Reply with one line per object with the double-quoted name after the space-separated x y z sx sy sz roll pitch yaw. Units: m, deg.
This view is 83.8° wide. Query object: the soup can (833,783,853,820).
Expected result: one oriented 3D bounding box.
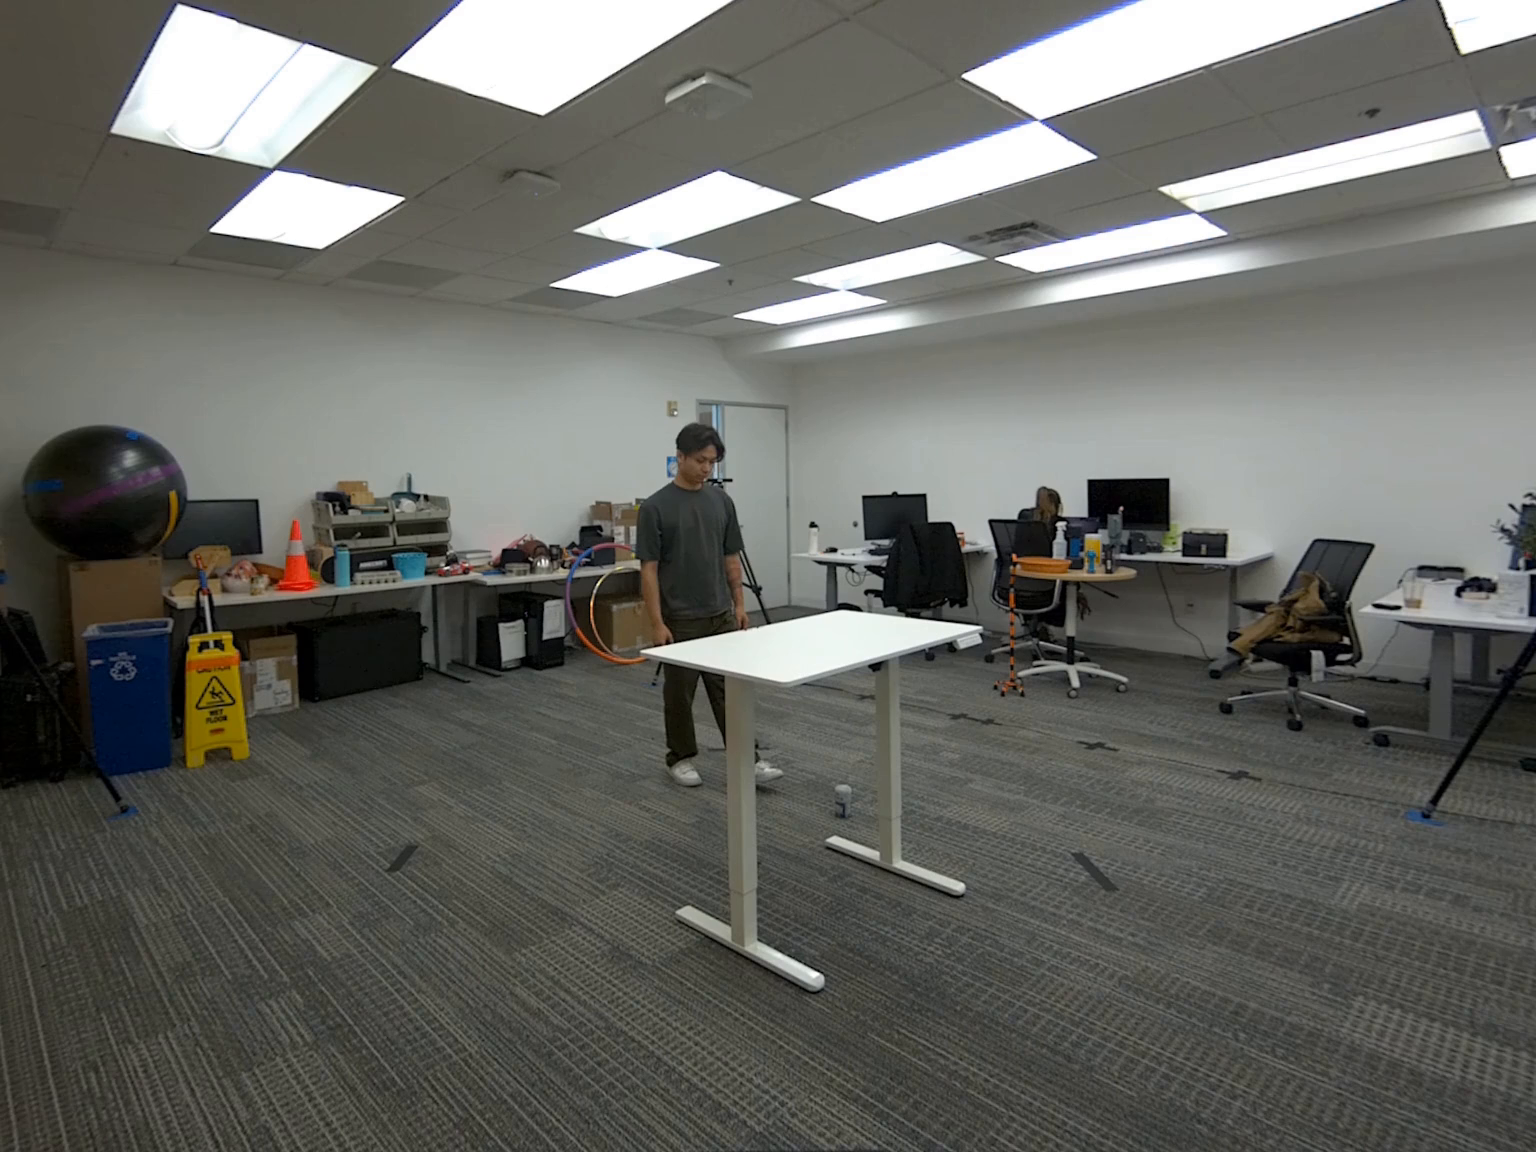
0.318 0.933 3.530 0.067 0.121 0.067 2 5 -2 "soup can"
